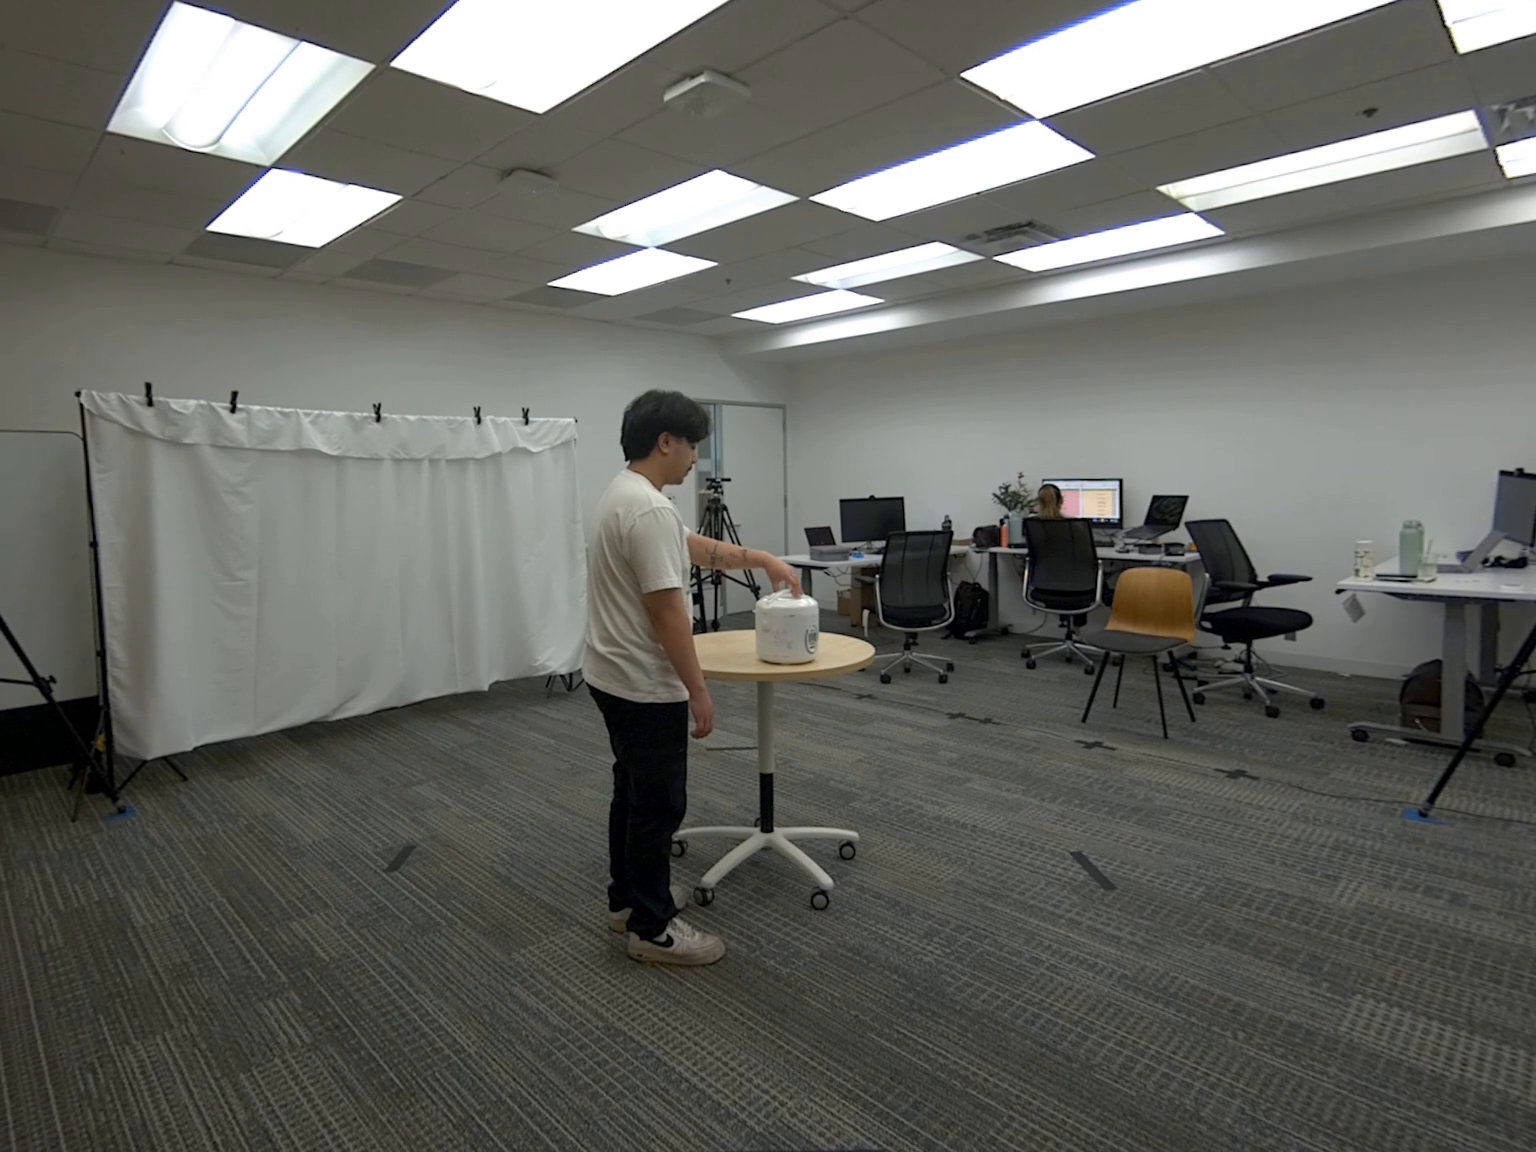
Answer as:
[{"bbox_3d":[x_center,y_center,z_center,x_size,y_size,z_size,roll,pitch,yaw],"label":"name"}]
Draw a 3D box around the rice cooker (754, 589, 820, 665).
[{"bbox_3d":[0.069,0.162,2.811,0.224,0.232,0.215,2,6,44],"label":"rice cooker"}]
